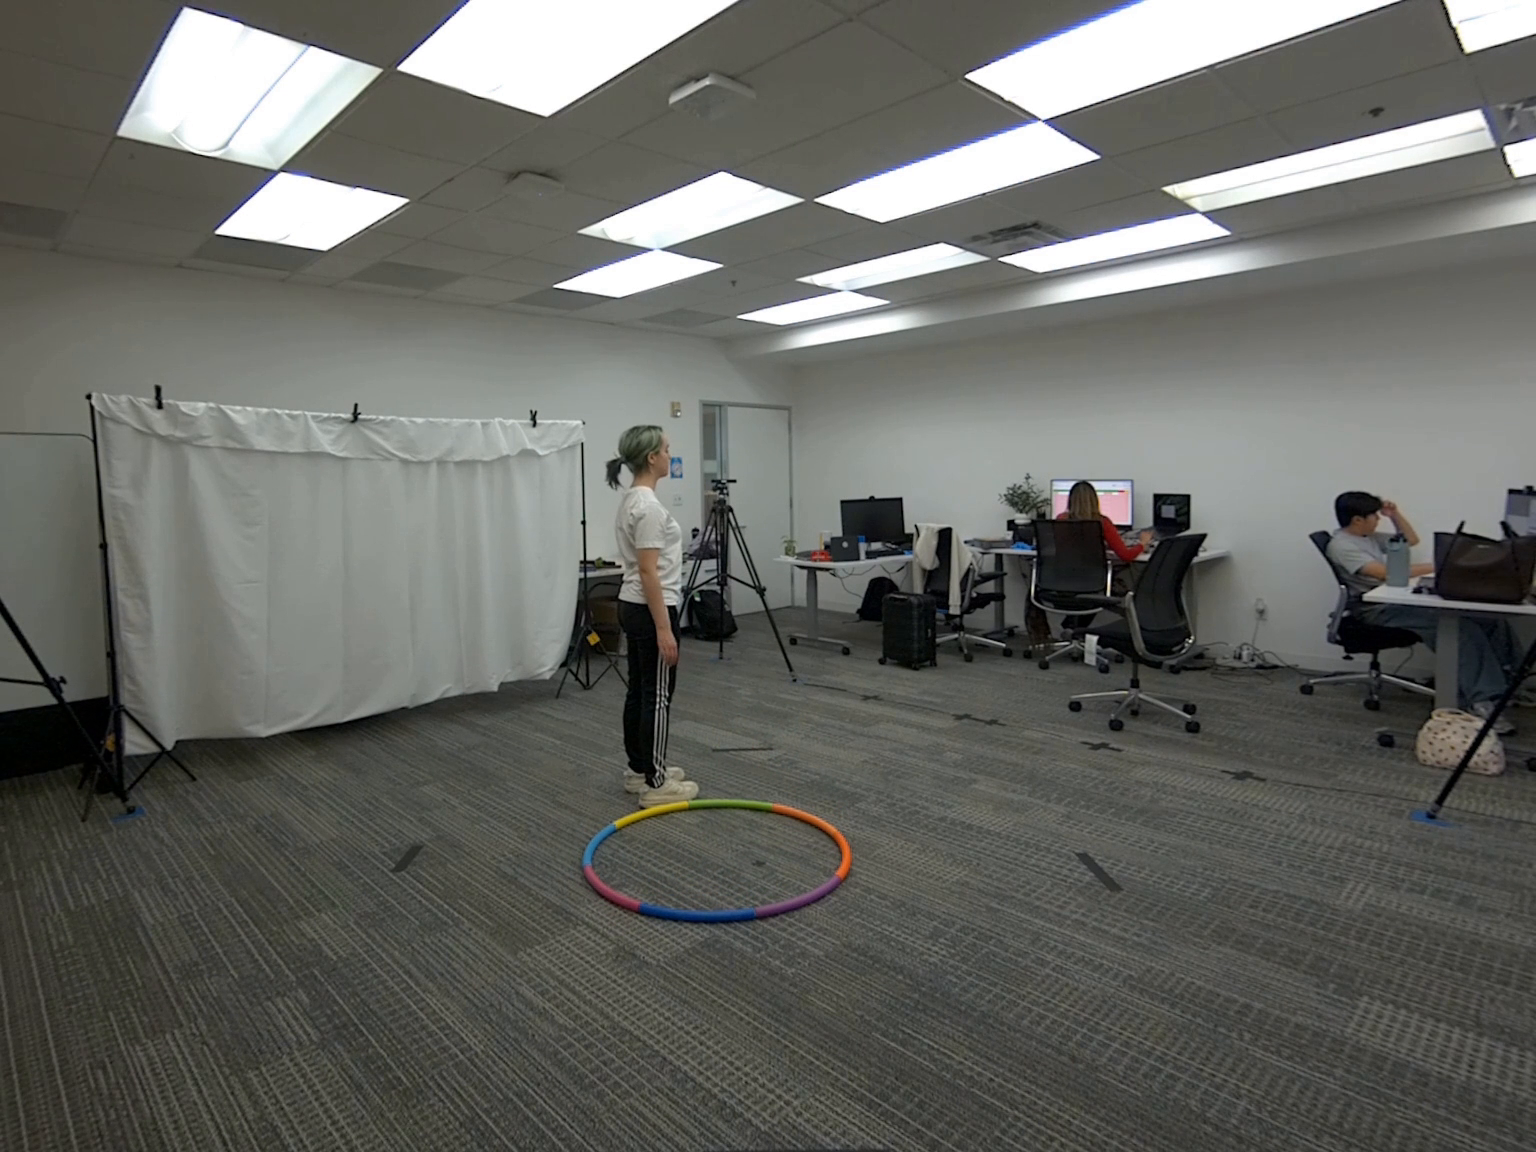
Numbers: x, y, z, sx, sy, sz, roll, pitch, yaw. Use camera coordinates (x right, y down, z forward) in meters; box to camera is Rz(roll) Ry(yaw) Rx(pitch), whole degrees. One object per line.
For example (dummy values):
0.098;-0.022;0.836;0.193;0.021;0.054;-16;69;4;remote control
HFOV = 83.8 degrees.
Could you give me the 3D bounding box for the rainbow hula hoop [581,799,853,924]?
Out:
-0.192;1.010;3.178;0.978;0.035;0.984;-1;7;-2;rainbow hula hoop
